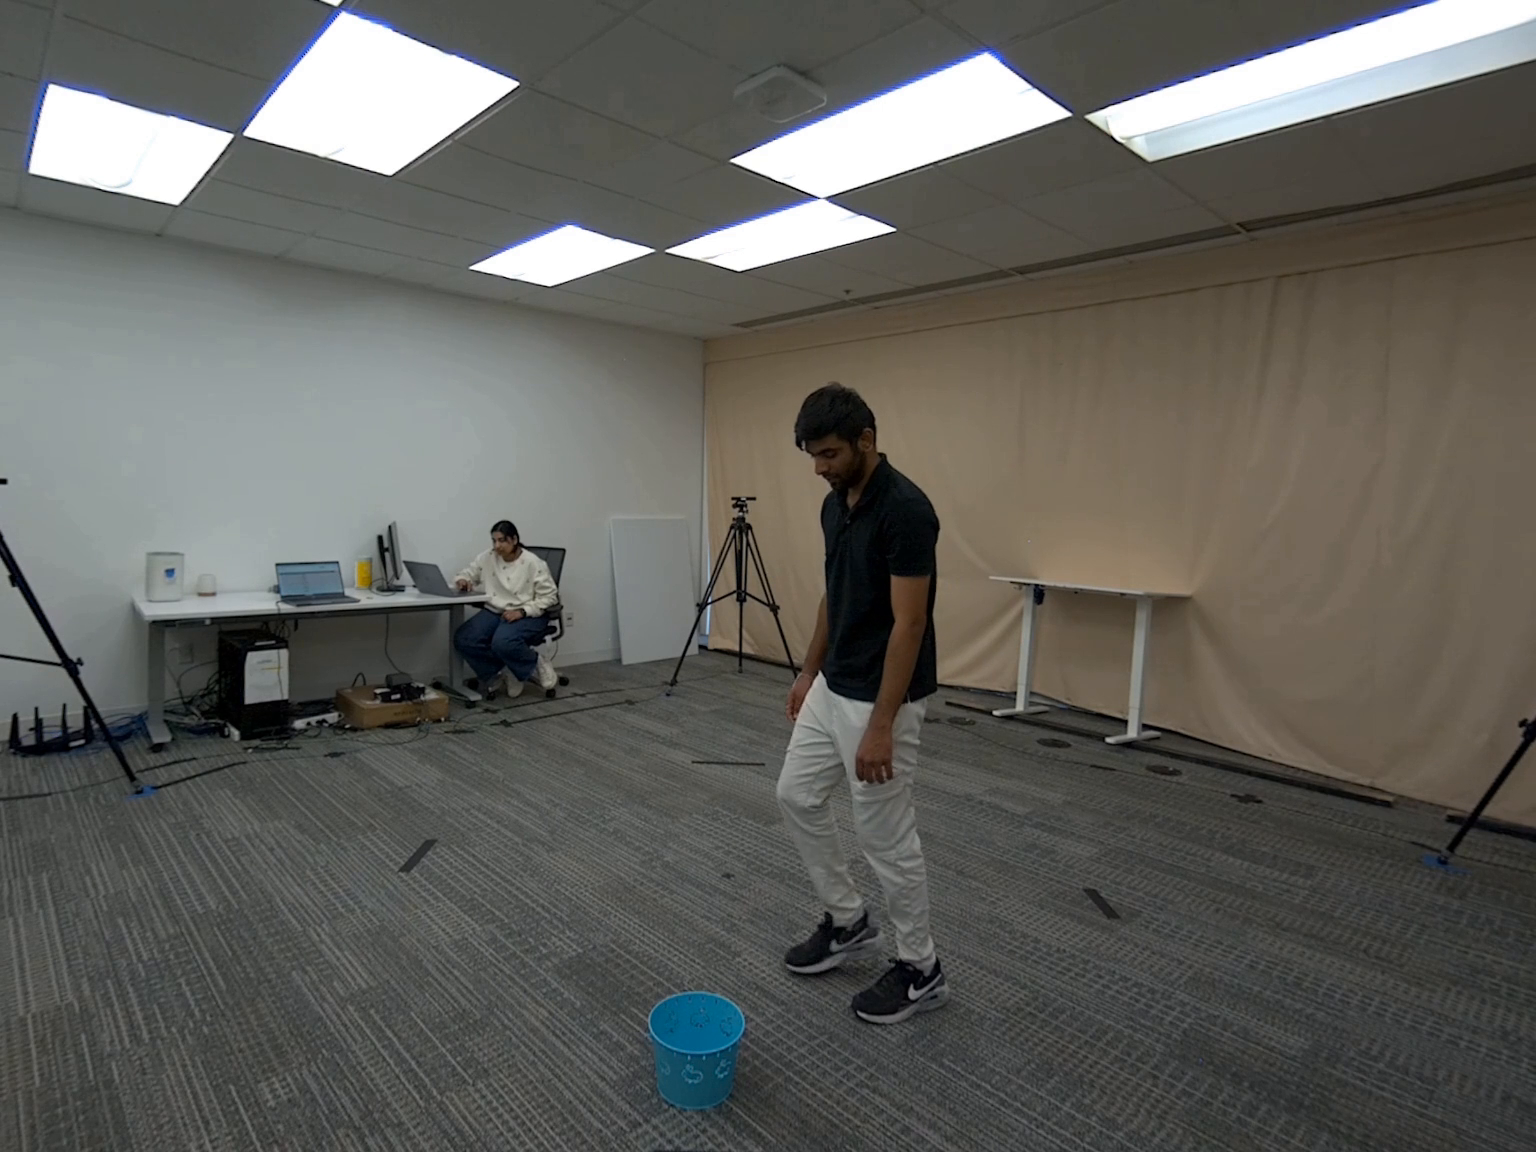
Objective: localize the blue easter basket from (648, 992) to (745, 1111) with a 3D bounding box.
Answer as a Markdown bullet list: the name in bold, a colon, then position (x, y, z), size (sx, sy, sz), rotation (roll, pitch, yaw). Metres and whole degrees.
- **blue easter basket**: position (-0.174, 1.136, 1.998), size (0.243, 0.155, 0.244), rotation (2, 5, -2)
